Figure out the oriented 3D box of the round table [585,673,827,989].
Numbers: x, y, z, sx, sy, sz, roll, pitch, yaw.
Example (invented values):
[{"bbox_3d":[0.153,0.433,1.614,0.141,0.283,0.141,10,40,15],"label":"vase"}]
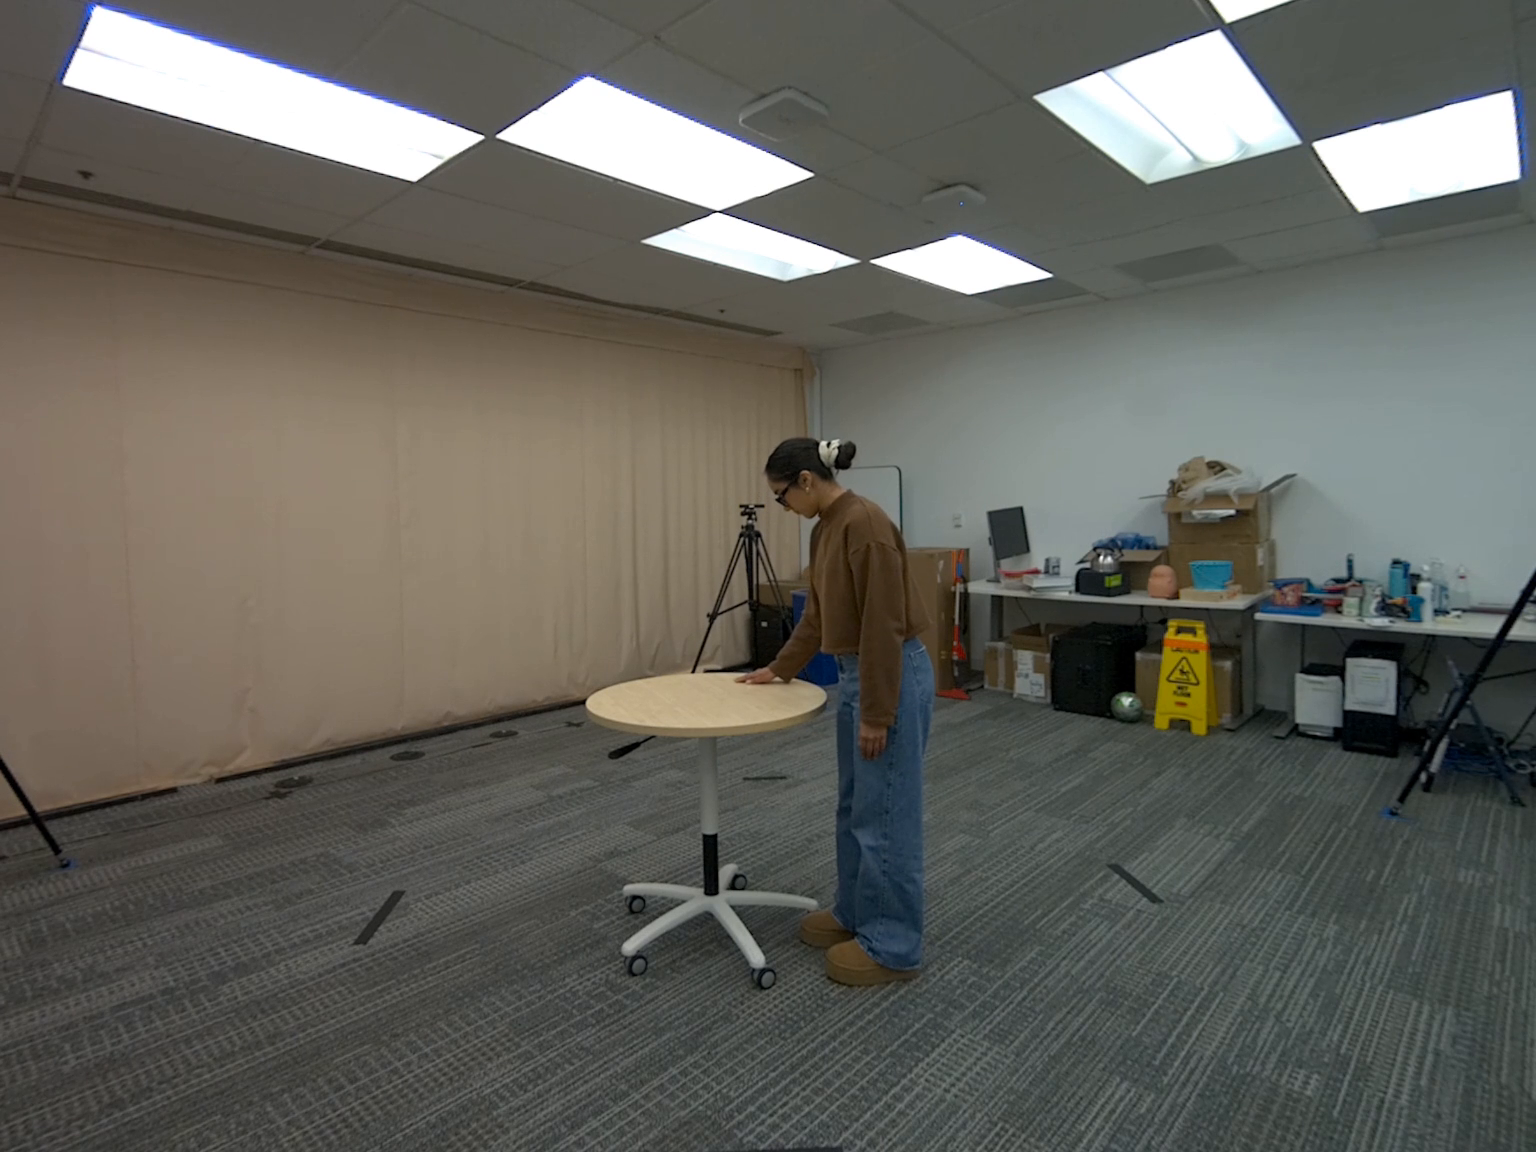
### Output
[{"bbox_3d":[-0.189,0.781,2.708,0.763,0.792,0.767,-2,4,-2],"label":"round table"}]
